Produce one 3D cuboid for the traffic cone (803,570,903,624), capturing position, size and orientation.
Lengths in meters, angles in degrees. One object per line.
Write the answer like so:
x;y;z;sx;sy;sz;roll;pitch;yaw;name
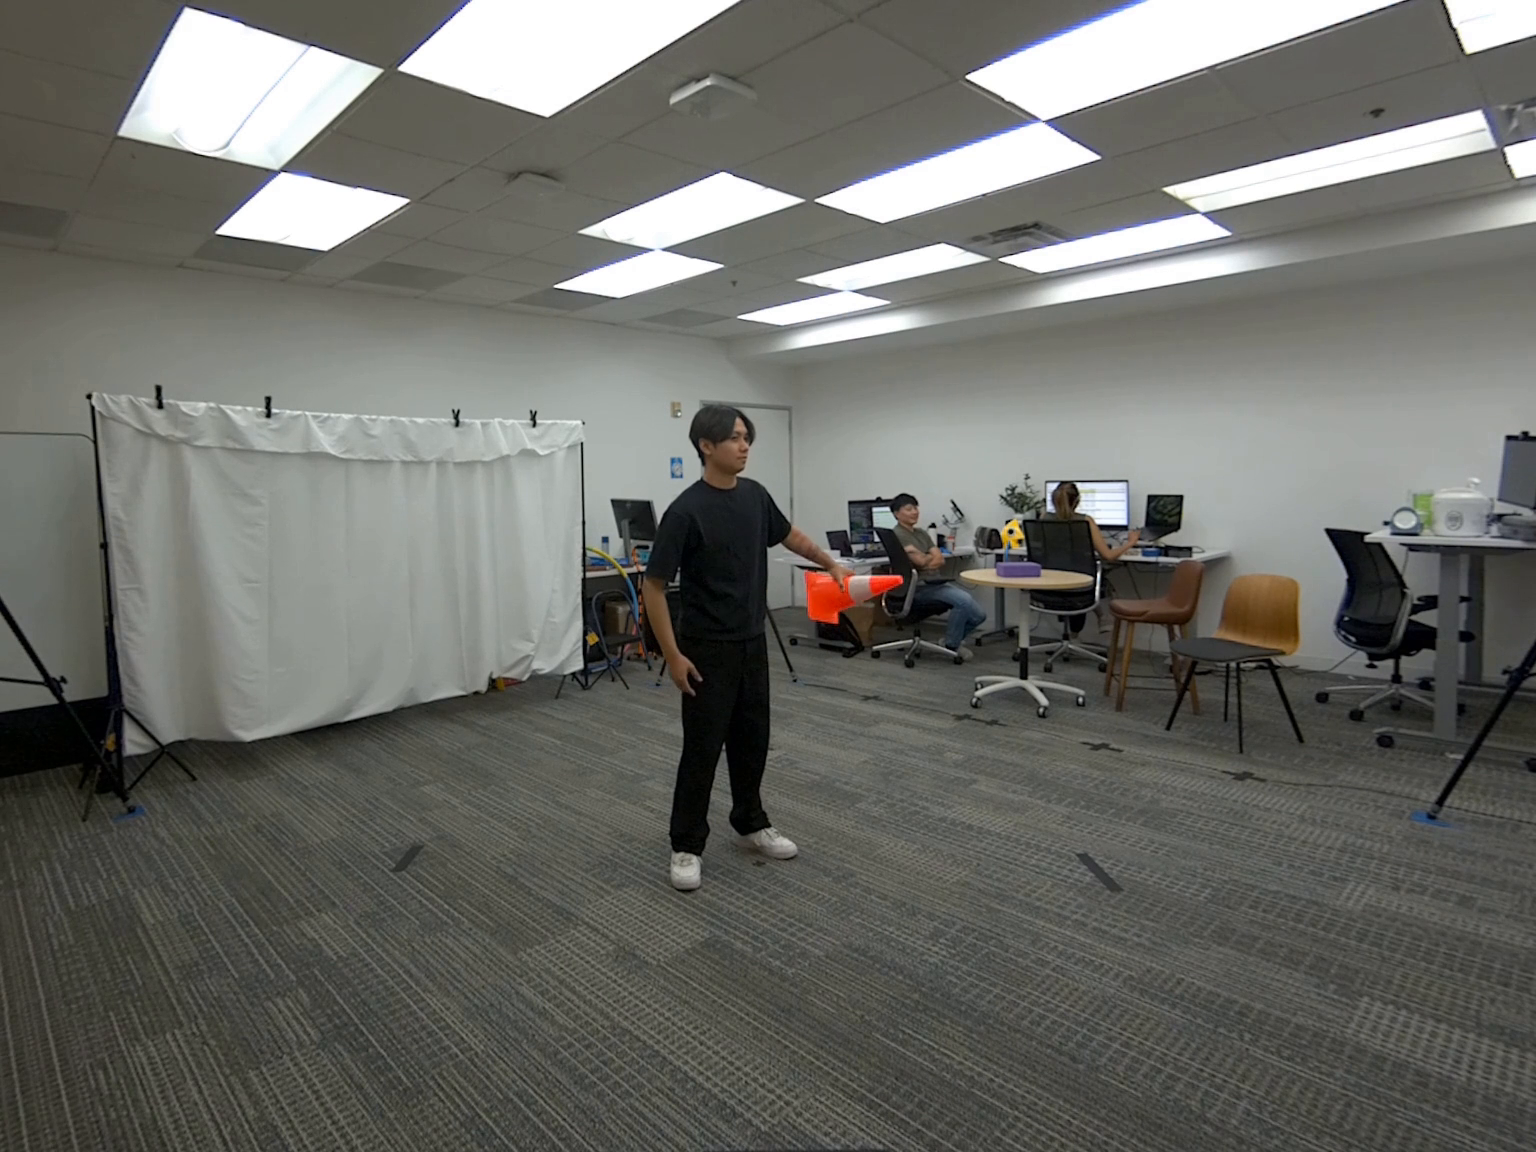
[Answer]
0.357;0.052;3.357;0.392;0.206;0.198;-13;-18;39;traffic cone
